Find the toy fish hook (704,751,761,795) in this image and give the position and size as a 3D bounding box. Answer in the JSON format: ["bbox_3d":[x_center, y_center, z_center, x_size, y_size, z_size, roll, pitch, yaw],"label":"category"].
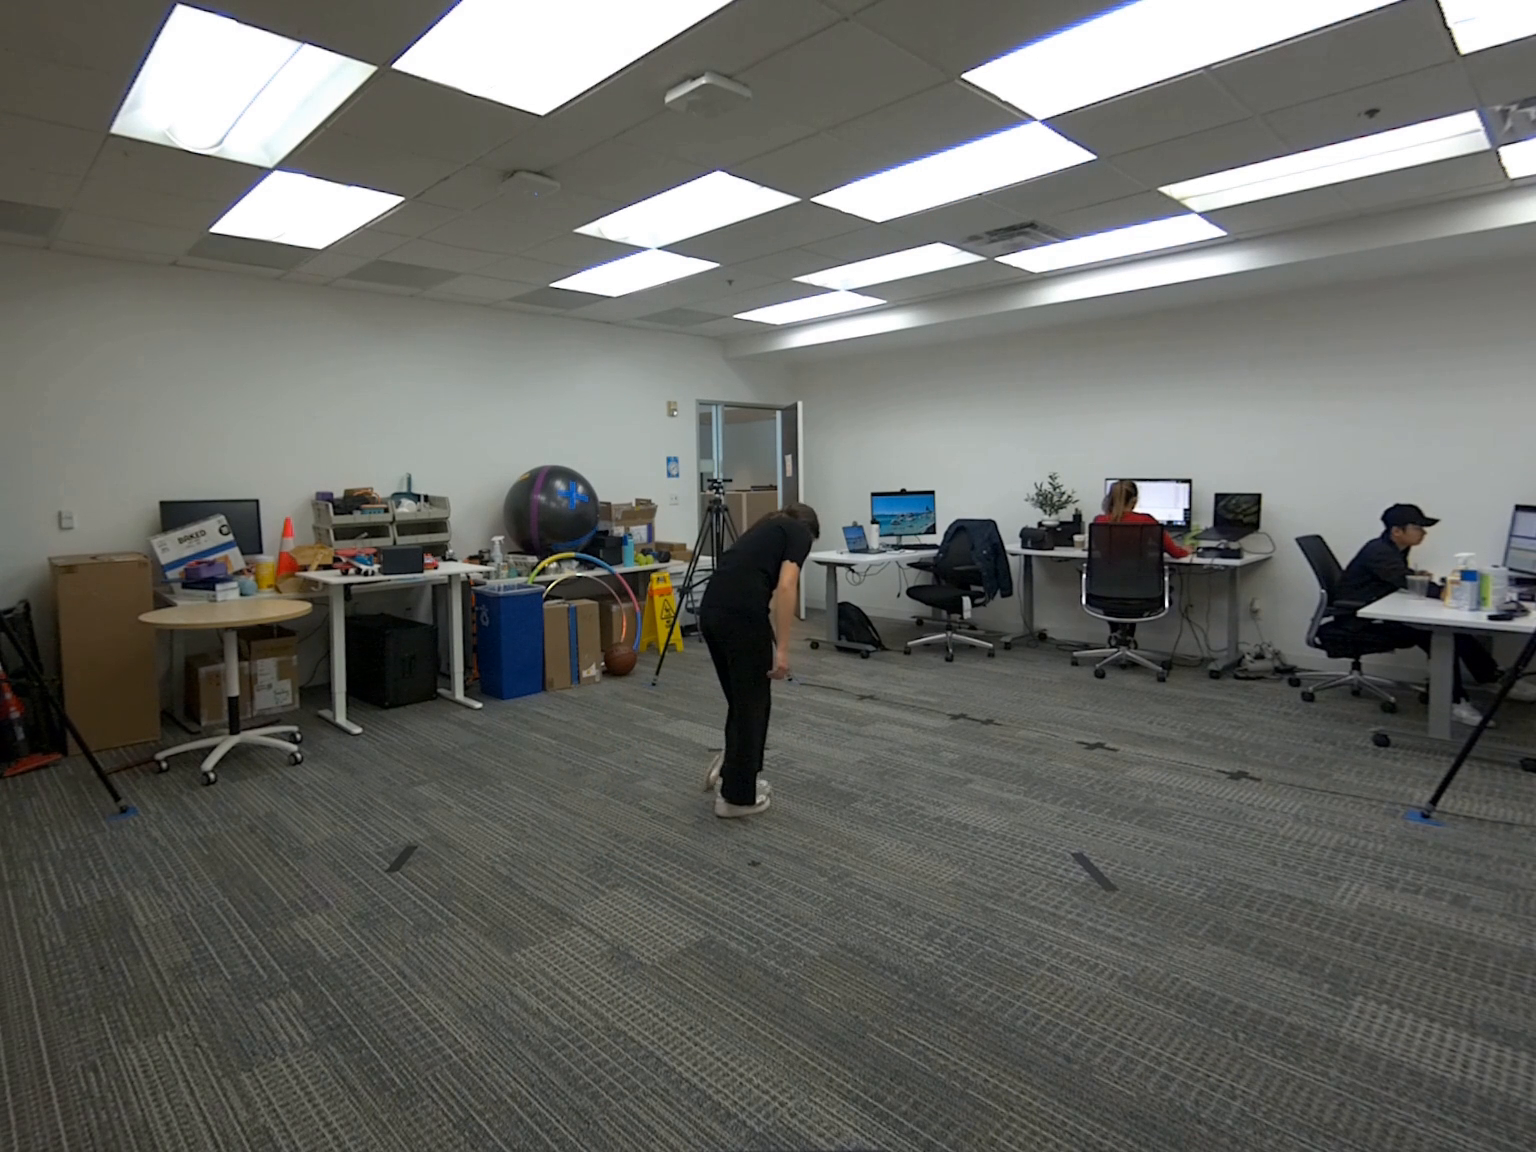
[{"bbox_3d":[-0.173,0.739,3.840,0.049,0.505,0.223,23,8,6],"label":"toy fish hook"}]
